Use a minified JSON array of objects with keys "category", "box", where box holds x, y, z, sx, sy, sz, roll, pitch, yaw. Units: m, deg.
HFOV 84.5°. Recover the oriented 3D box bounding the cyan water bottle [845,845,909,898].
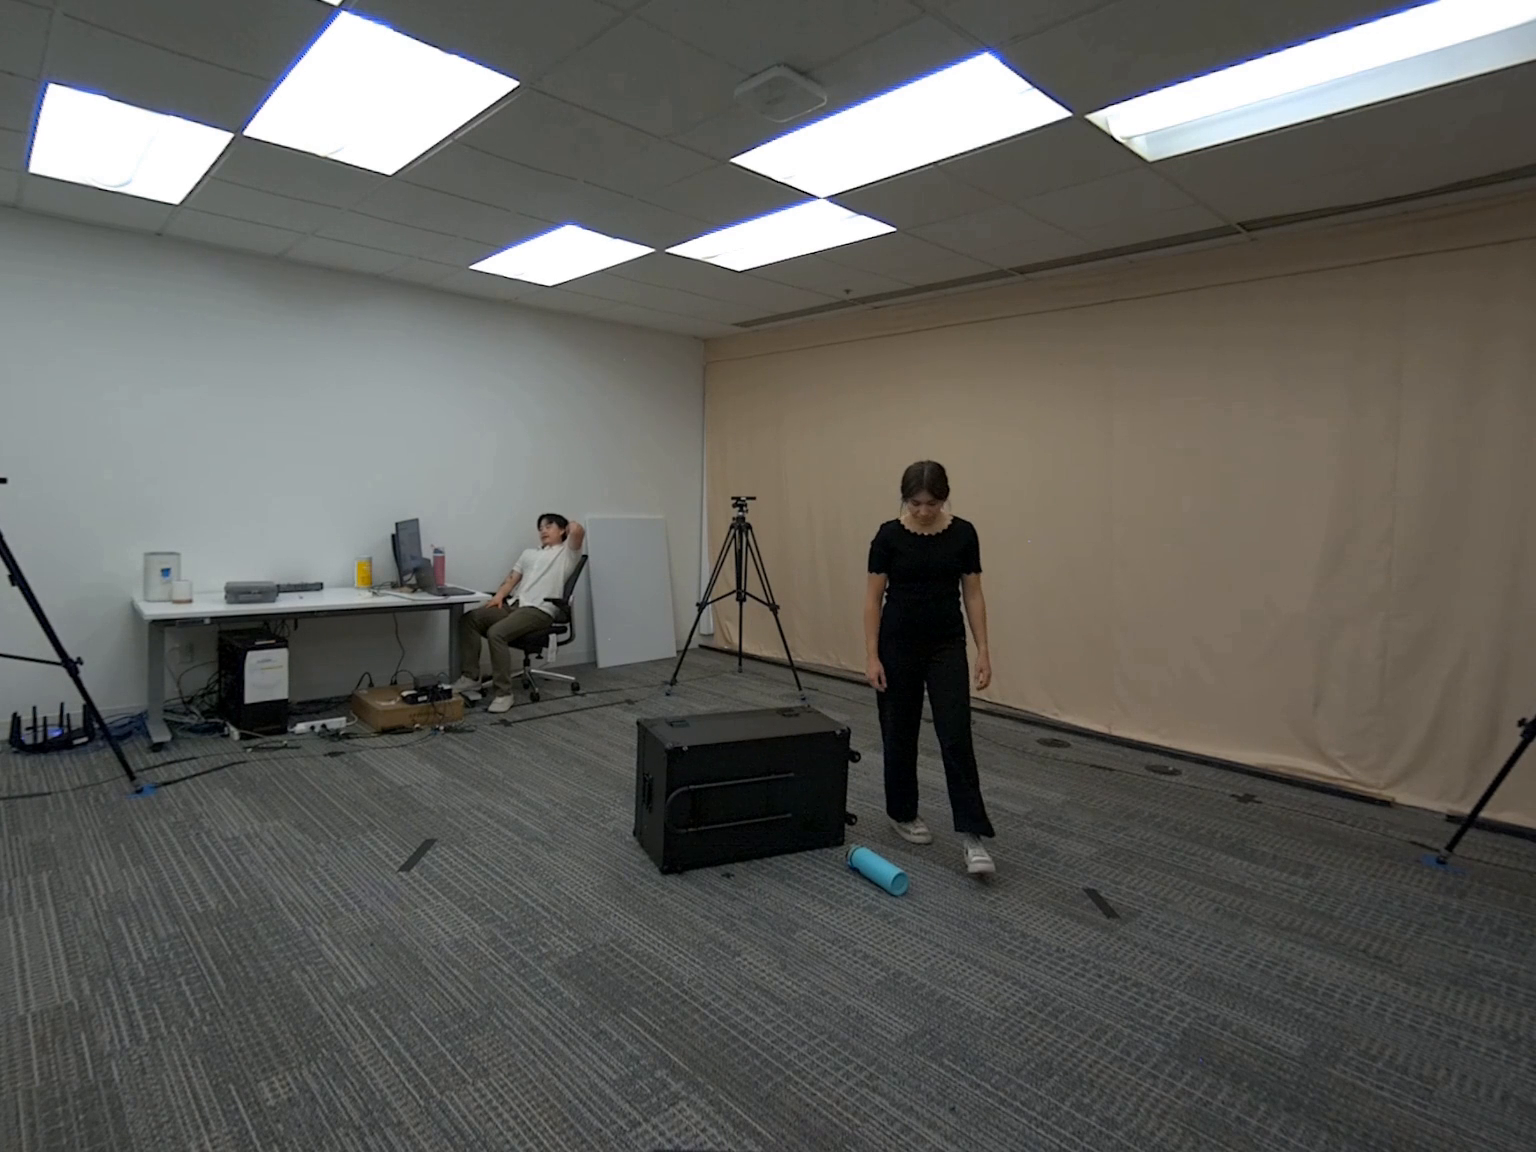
[{"category":"cyan water bottle","box":[0.380,1.072,3.088,0.090,0.092,0.290,-1,6,-31]}]
